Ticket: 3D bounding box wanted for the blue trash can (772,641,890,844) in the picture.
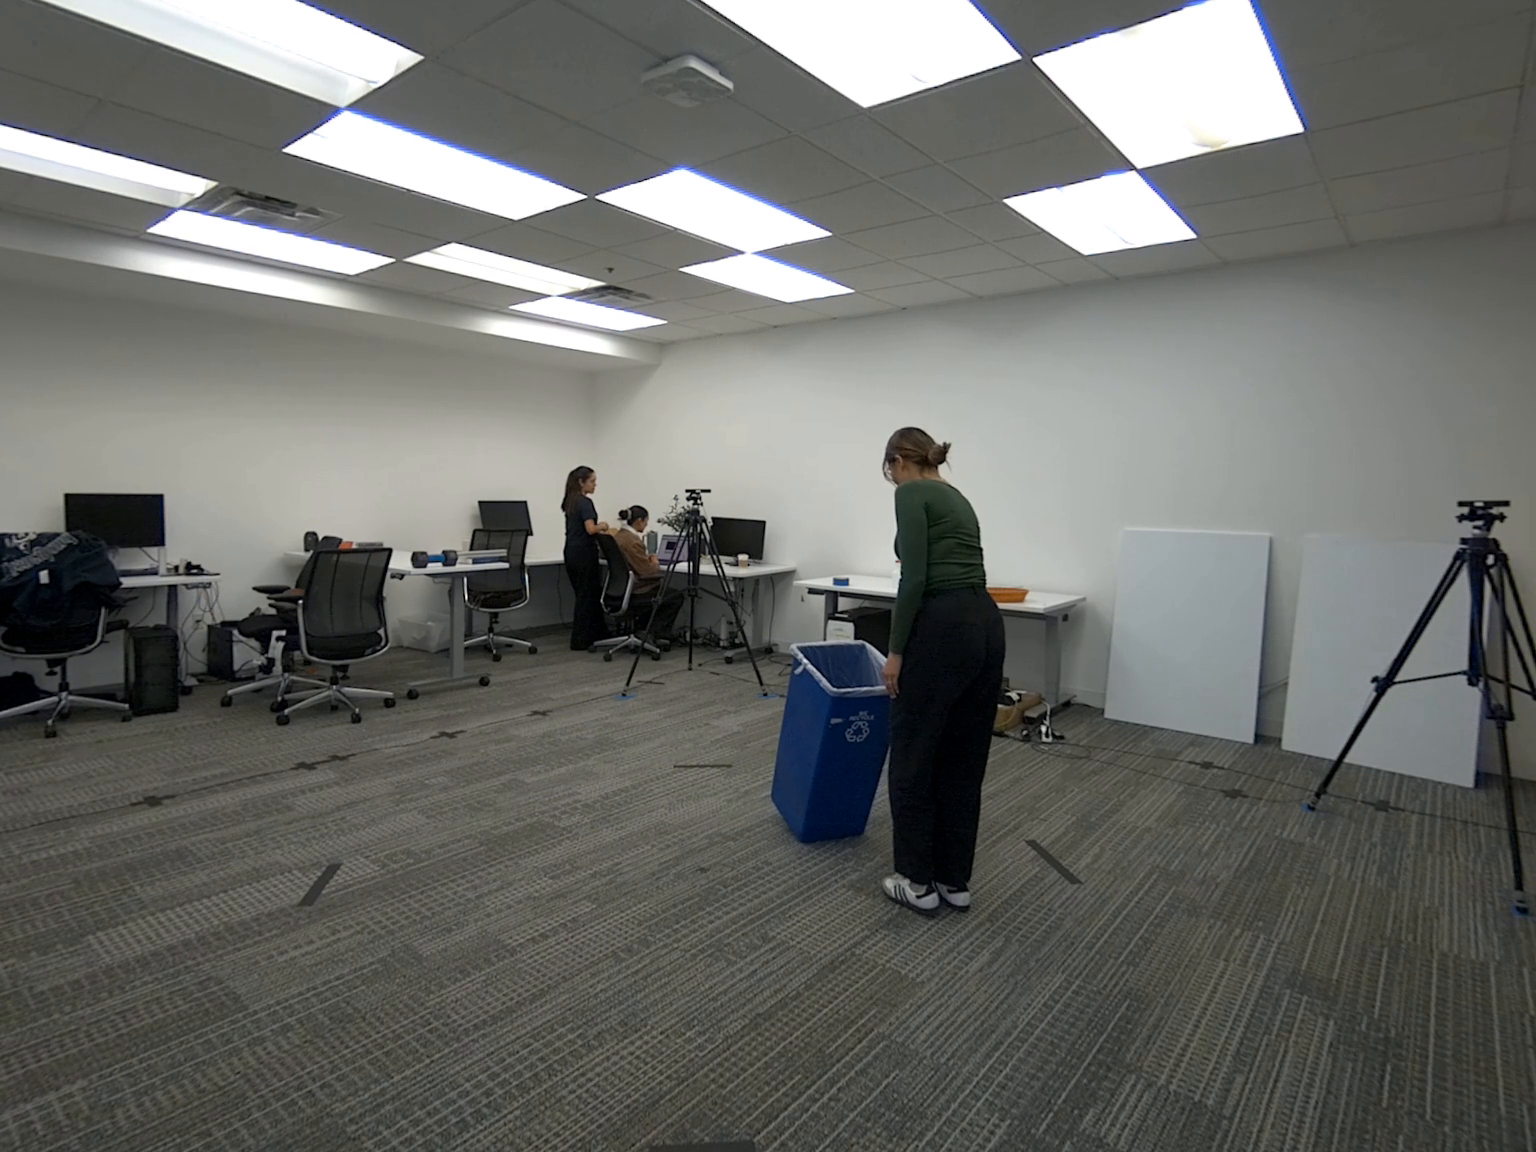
[{"bbox_3d":[0.247,0.666,3.436,0.369,0.703,0.389,1,22,-26],"label":"blue trash can"}]
